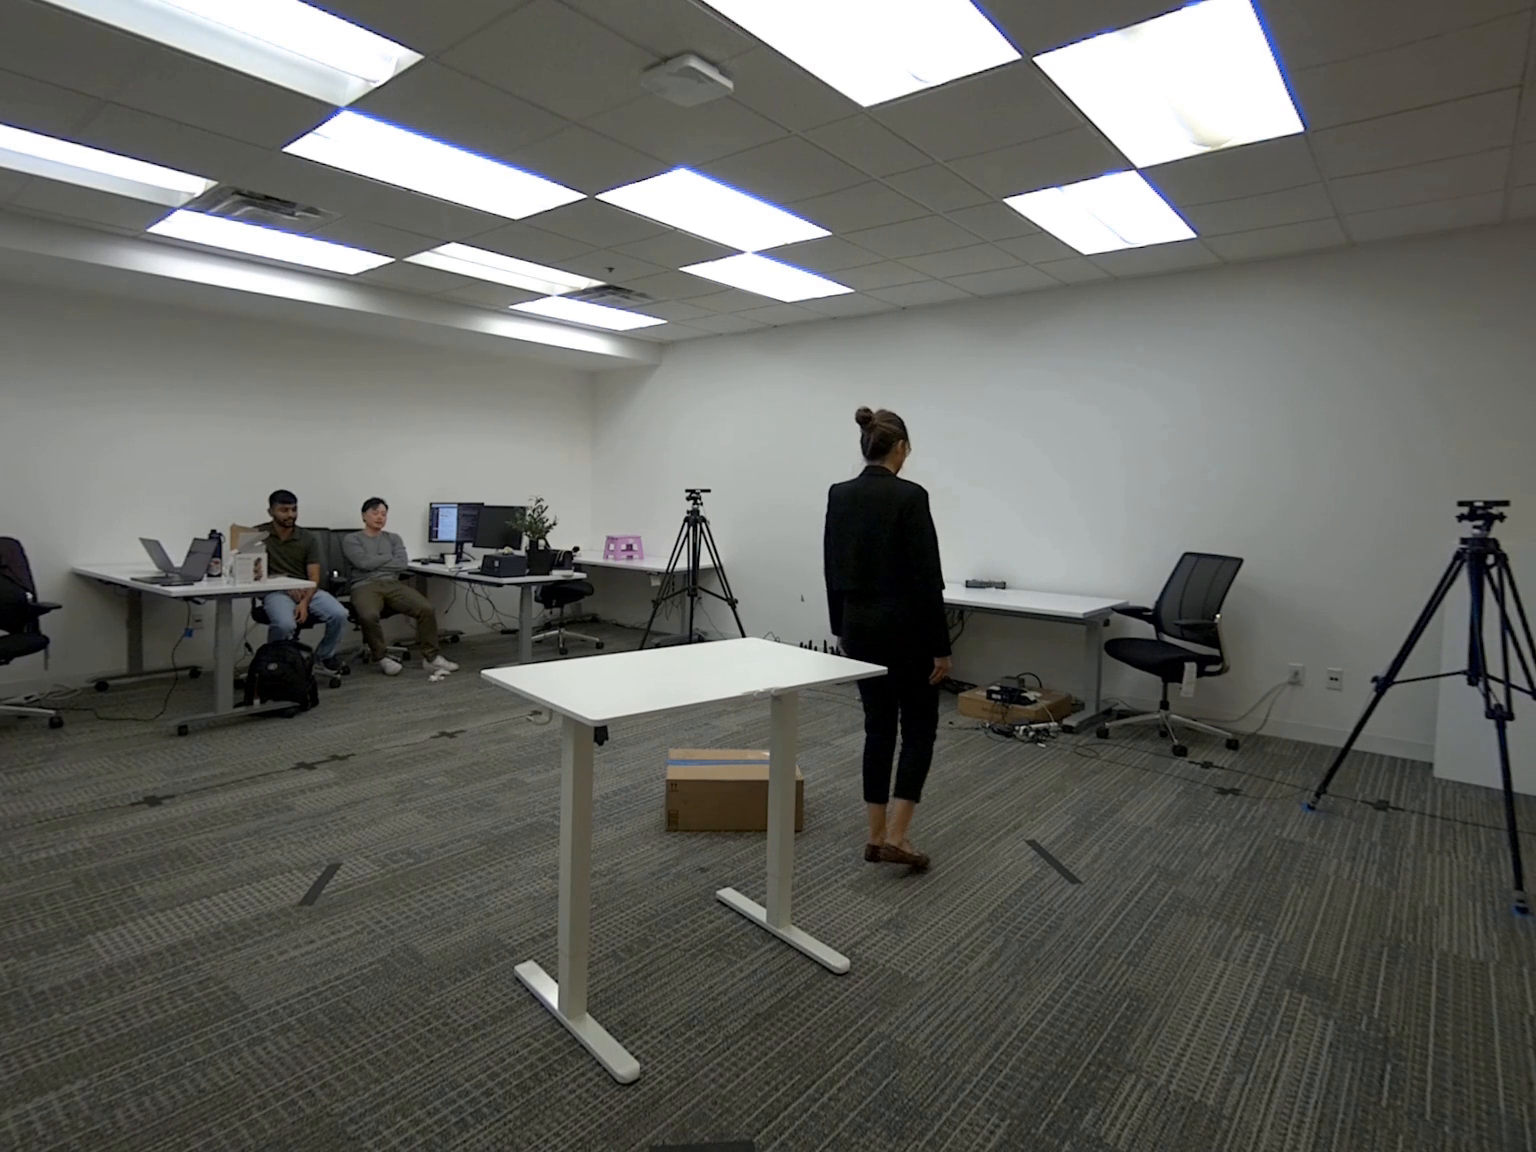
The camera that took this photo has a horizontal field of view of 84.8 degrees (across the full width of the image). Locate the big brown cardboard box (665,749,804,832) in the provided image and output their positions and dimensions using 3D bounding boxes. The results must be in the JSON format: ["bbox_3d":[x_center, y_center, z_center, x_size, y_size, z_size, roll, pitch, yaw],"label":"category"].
[{"bbox_3d":[-0.163,0.909,3.671,0.586,0.232,0.421,0,5,-4],"label":"big brown cardboard box"}]
